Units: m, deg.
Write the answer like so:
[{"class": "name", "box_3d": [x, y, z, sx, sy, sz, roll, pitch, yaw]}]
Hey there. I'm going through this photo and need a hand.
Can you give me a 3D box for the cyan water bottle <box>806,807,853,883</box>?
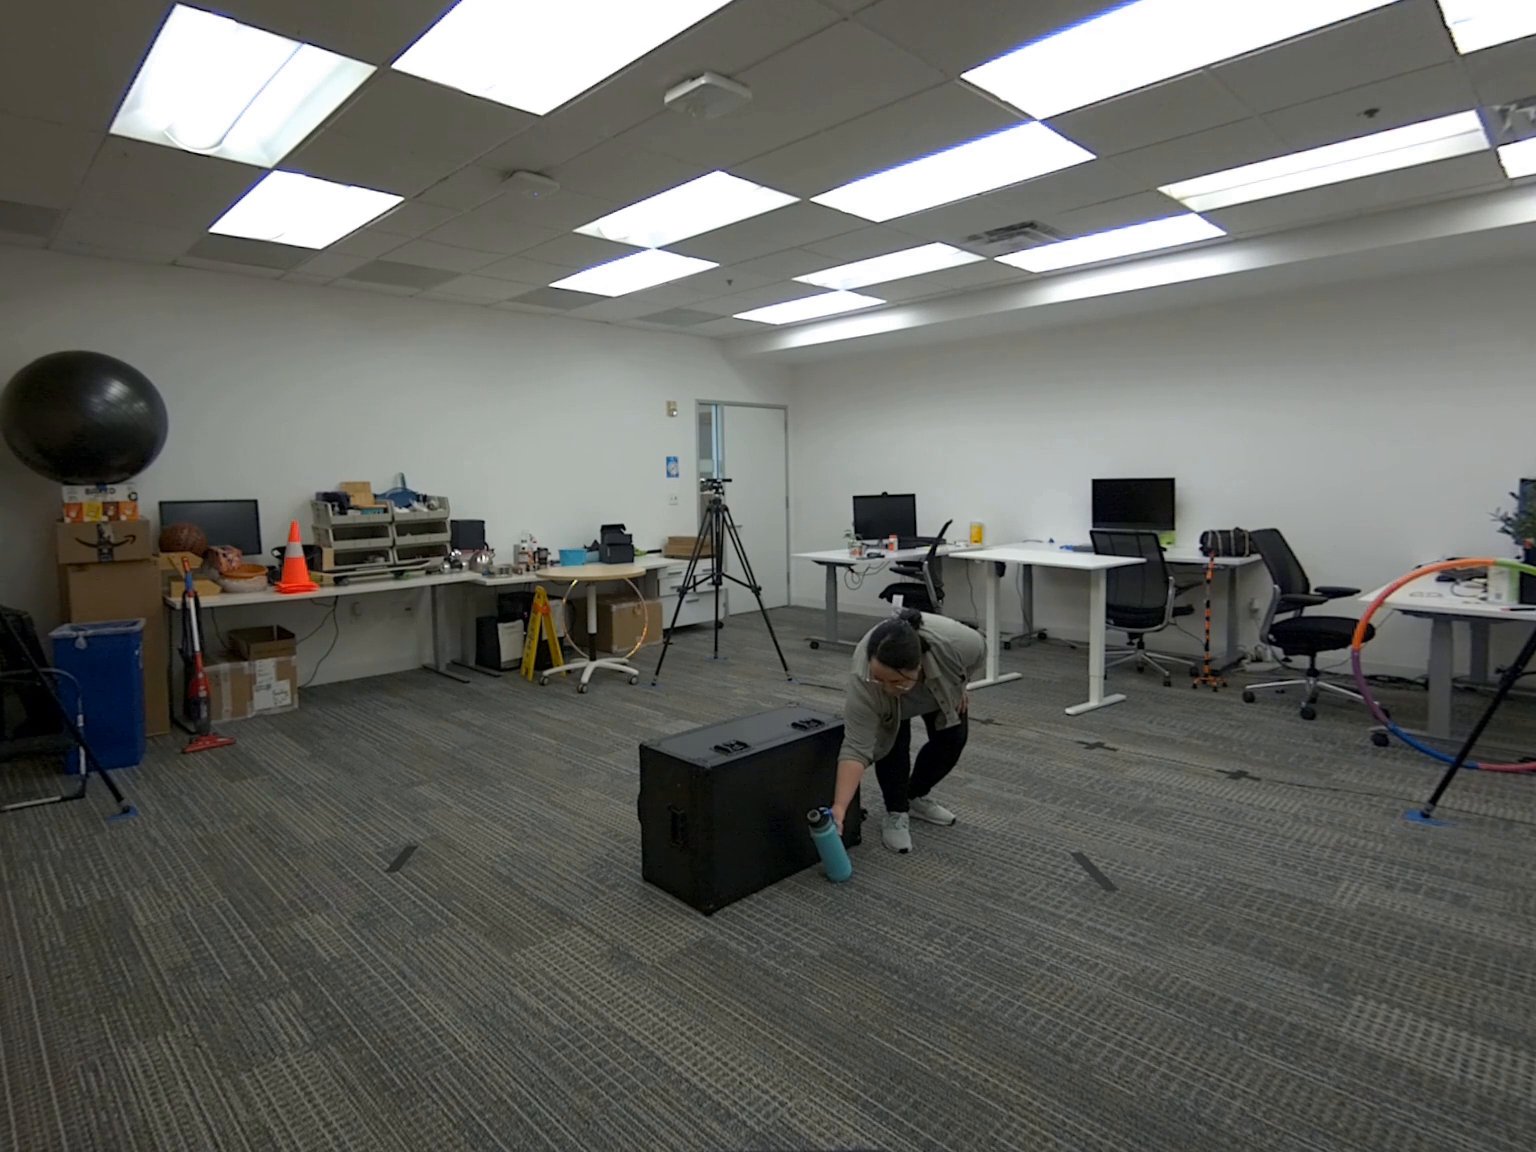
[{"class": "cyan water bottle", "box_3d": [0.204, 0.911, 2.937, 0.093, 0.276, 0.094, -16, 23, 5]}]
